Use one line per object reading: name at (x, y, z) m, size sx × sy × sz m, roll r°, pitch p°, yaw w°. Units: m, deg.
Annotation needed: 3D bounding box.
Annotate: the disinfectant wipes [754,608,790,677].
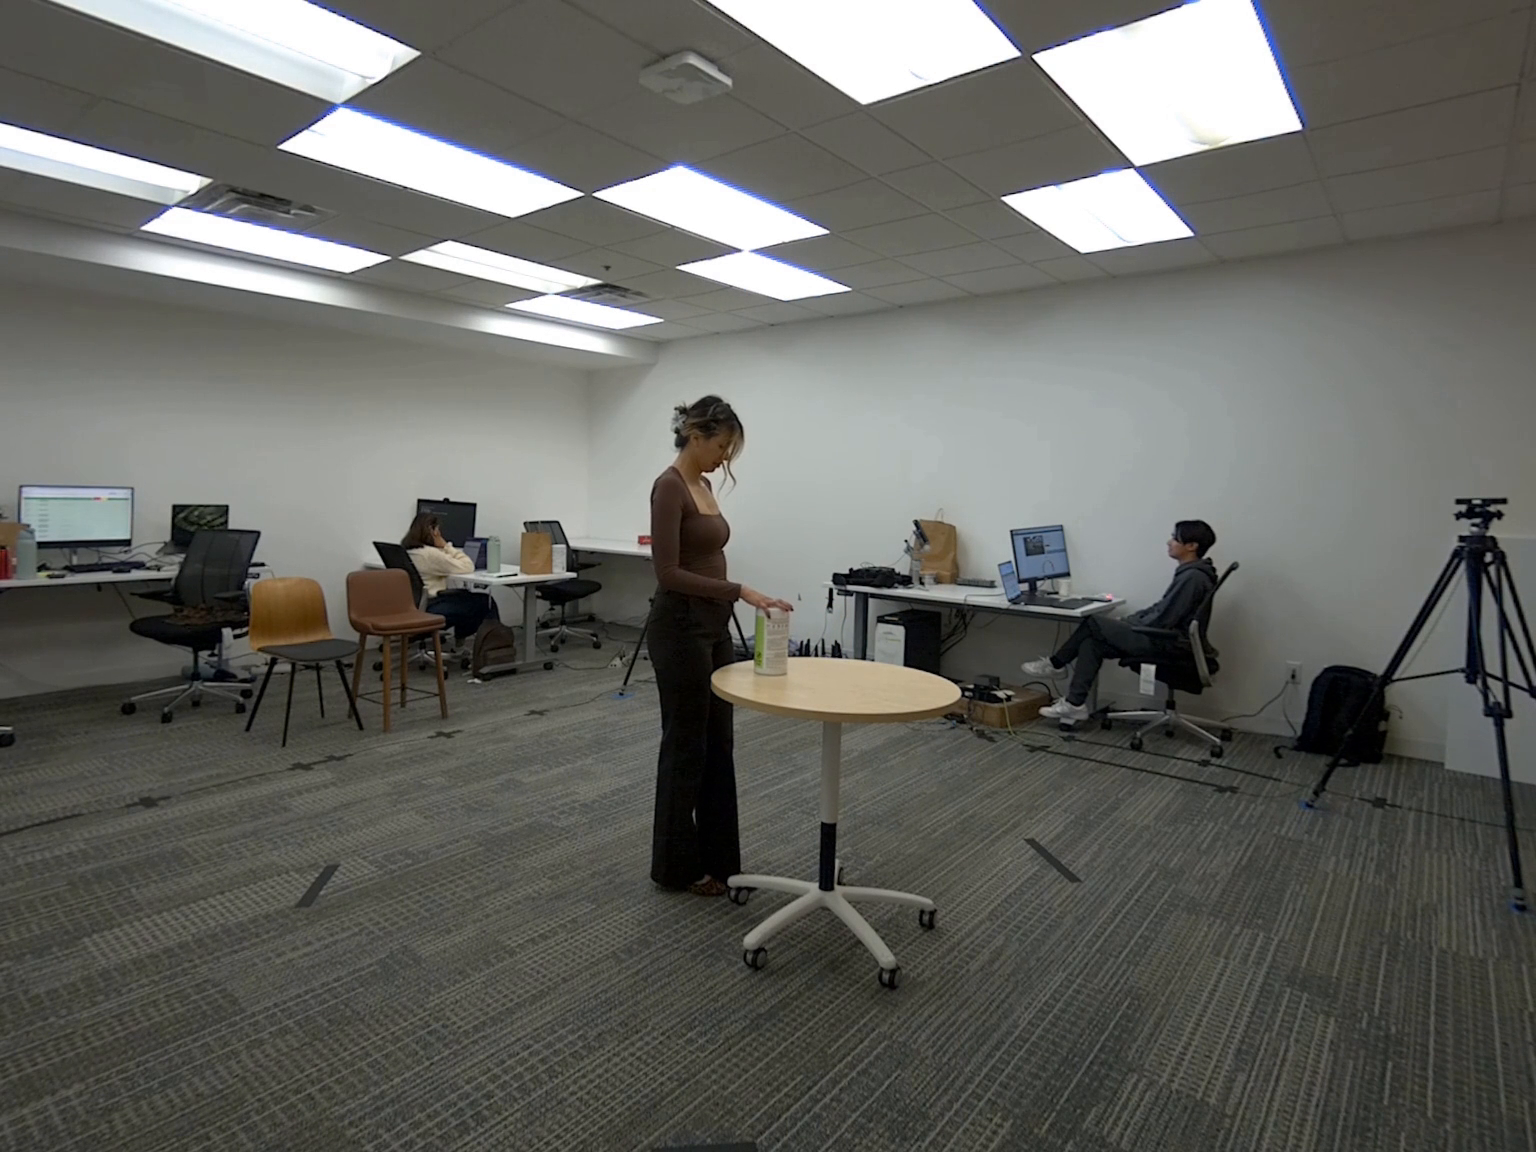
disinfectant wipes at (0.005, 0.205, 2.749) m, size 0.118 × 0.217 × 0.118 m, roll -1°, pitch 1°, yaw -2°
